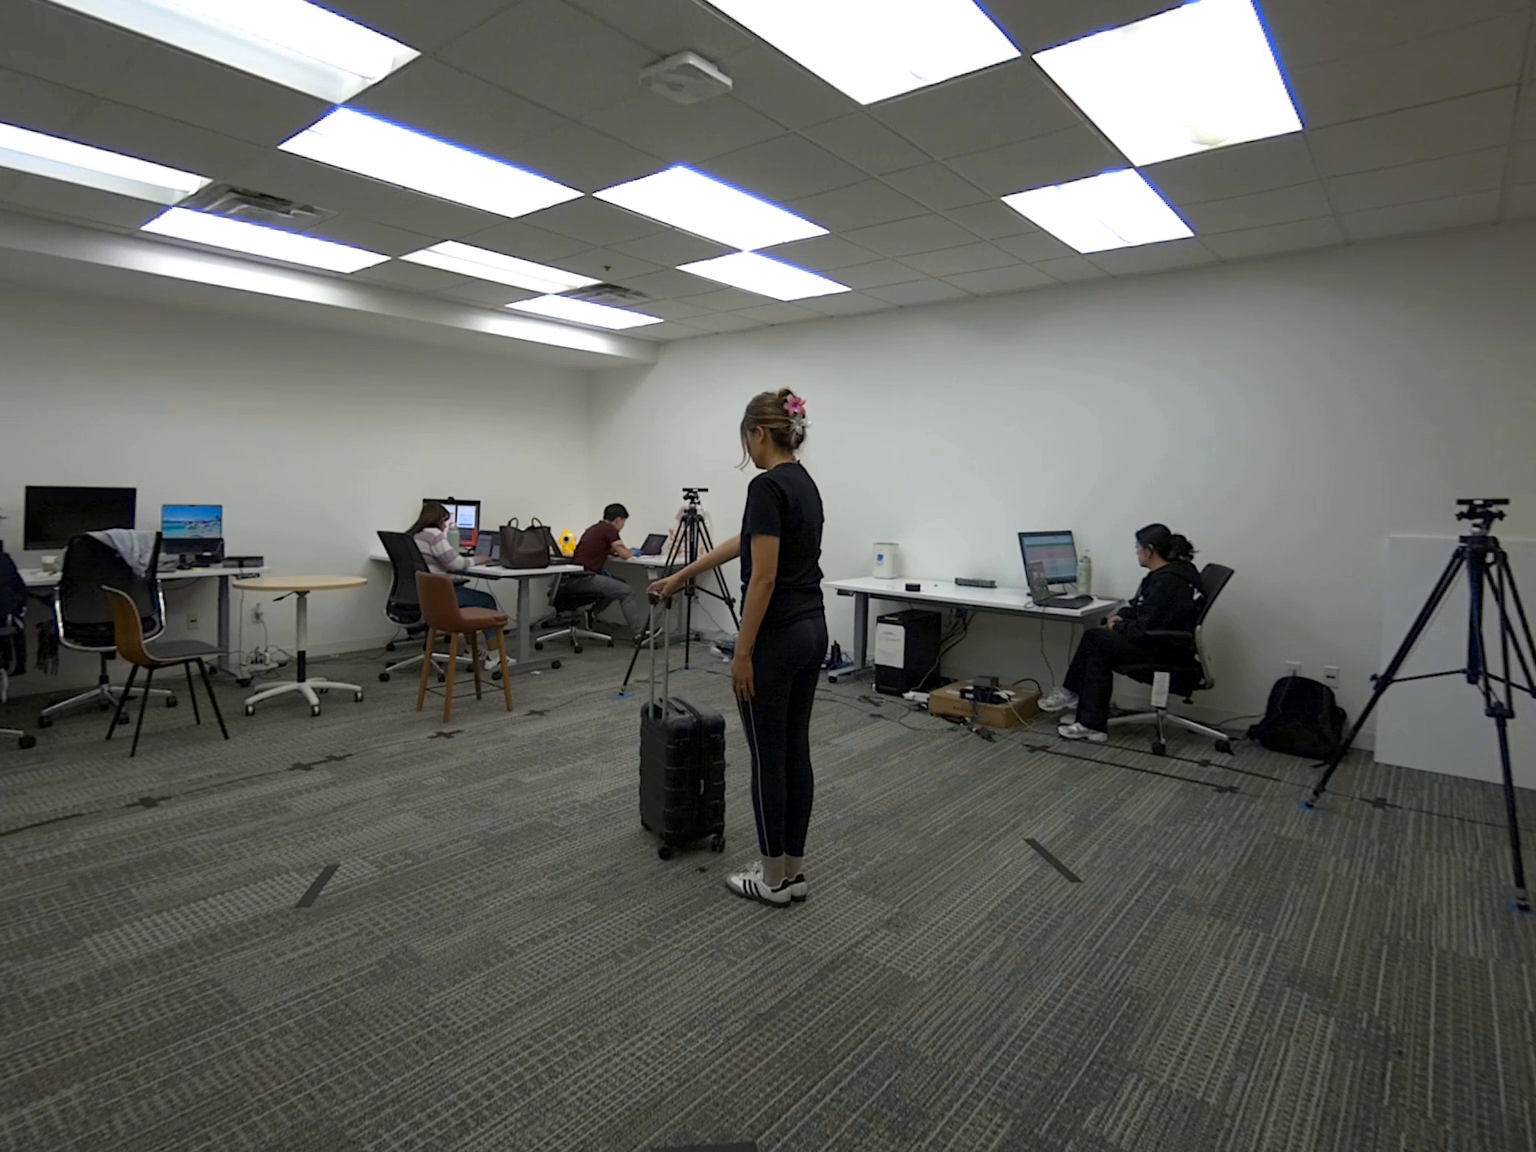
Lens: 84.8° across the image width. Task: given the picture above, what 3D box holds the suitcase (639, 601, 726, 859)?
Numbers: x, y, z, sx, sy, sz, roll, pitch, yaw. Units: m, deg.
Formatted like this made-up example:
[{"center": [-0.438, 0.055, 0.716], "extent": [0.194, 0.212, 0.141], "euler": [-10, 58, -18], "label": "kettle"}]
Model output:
[{"center": [-0.347, 0.568, 3.360], "extent": [0.251, 0.976, 0.394], "euler": [1, 3, -24], "label": "suitcase"}]
